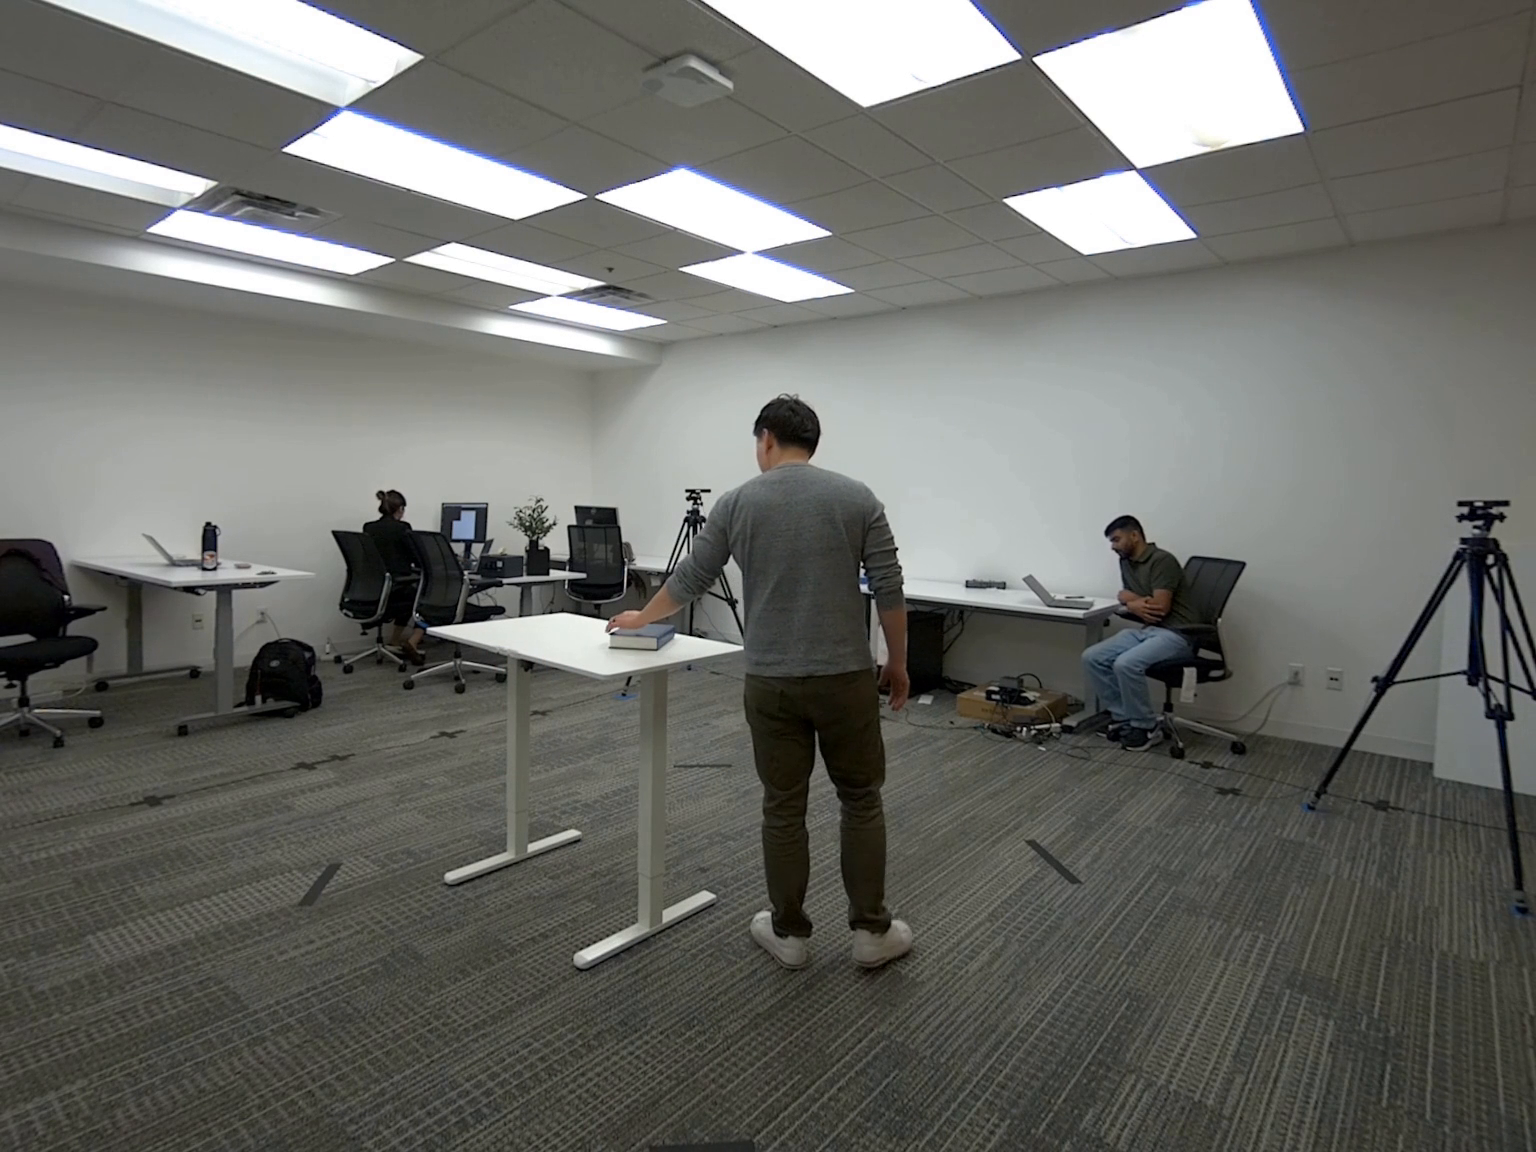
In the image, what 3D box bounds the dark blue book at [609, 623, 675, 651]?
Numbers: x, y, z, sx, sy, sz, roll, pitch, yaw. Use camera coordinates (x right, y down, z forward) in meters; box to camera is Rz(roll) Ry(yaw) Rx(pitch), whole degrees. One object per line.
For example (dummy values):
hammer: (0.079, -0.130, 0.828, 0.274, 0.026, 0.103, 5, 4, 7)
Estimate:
dark blue book: (-0.419, 0.198, 2.796, 0.165, 0.045, 0.243, 3, 6, 9)
